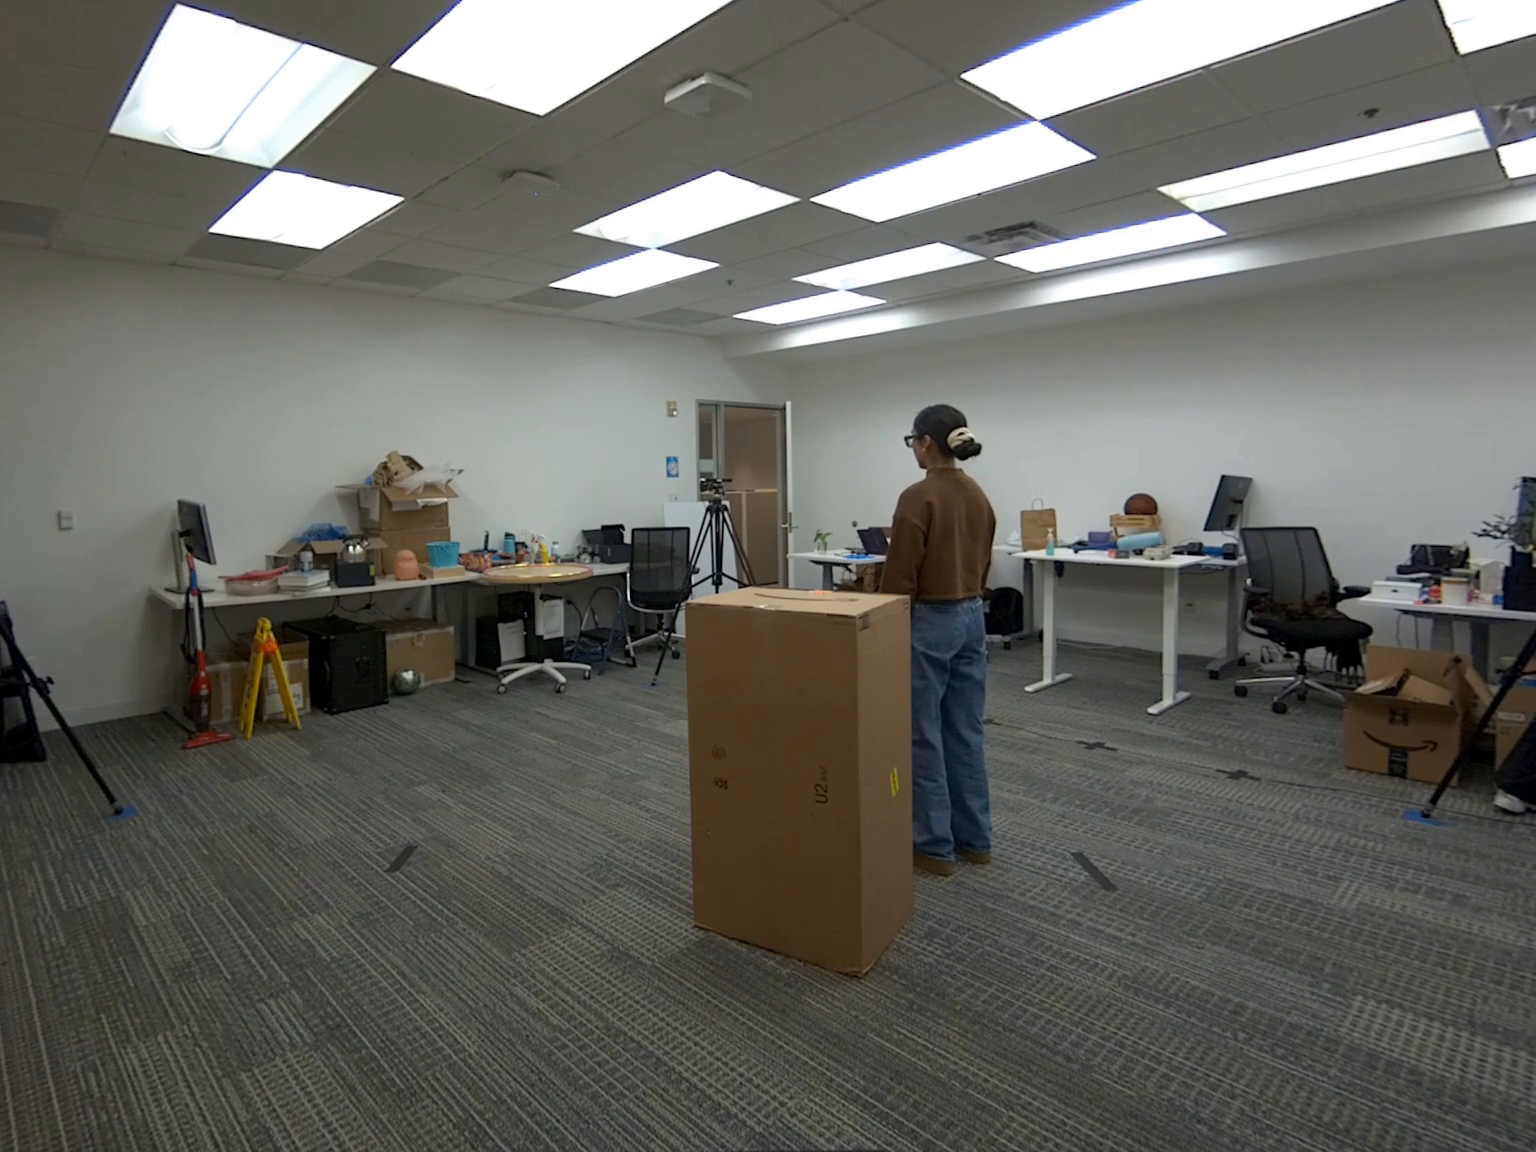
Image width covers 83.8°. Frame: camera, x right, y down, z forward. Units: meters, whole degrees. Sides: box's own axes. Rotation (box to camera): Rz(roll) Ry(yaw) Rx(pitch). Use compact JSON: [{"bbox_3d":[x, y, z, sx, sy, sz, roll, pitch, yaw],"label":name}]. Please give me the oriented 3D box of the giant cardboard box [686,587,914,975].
[{"bbox_3d":[0.107,0.583,2.674,0.593,1.023,0.416,1,4,31],"label":"giant cardboard box"}]
